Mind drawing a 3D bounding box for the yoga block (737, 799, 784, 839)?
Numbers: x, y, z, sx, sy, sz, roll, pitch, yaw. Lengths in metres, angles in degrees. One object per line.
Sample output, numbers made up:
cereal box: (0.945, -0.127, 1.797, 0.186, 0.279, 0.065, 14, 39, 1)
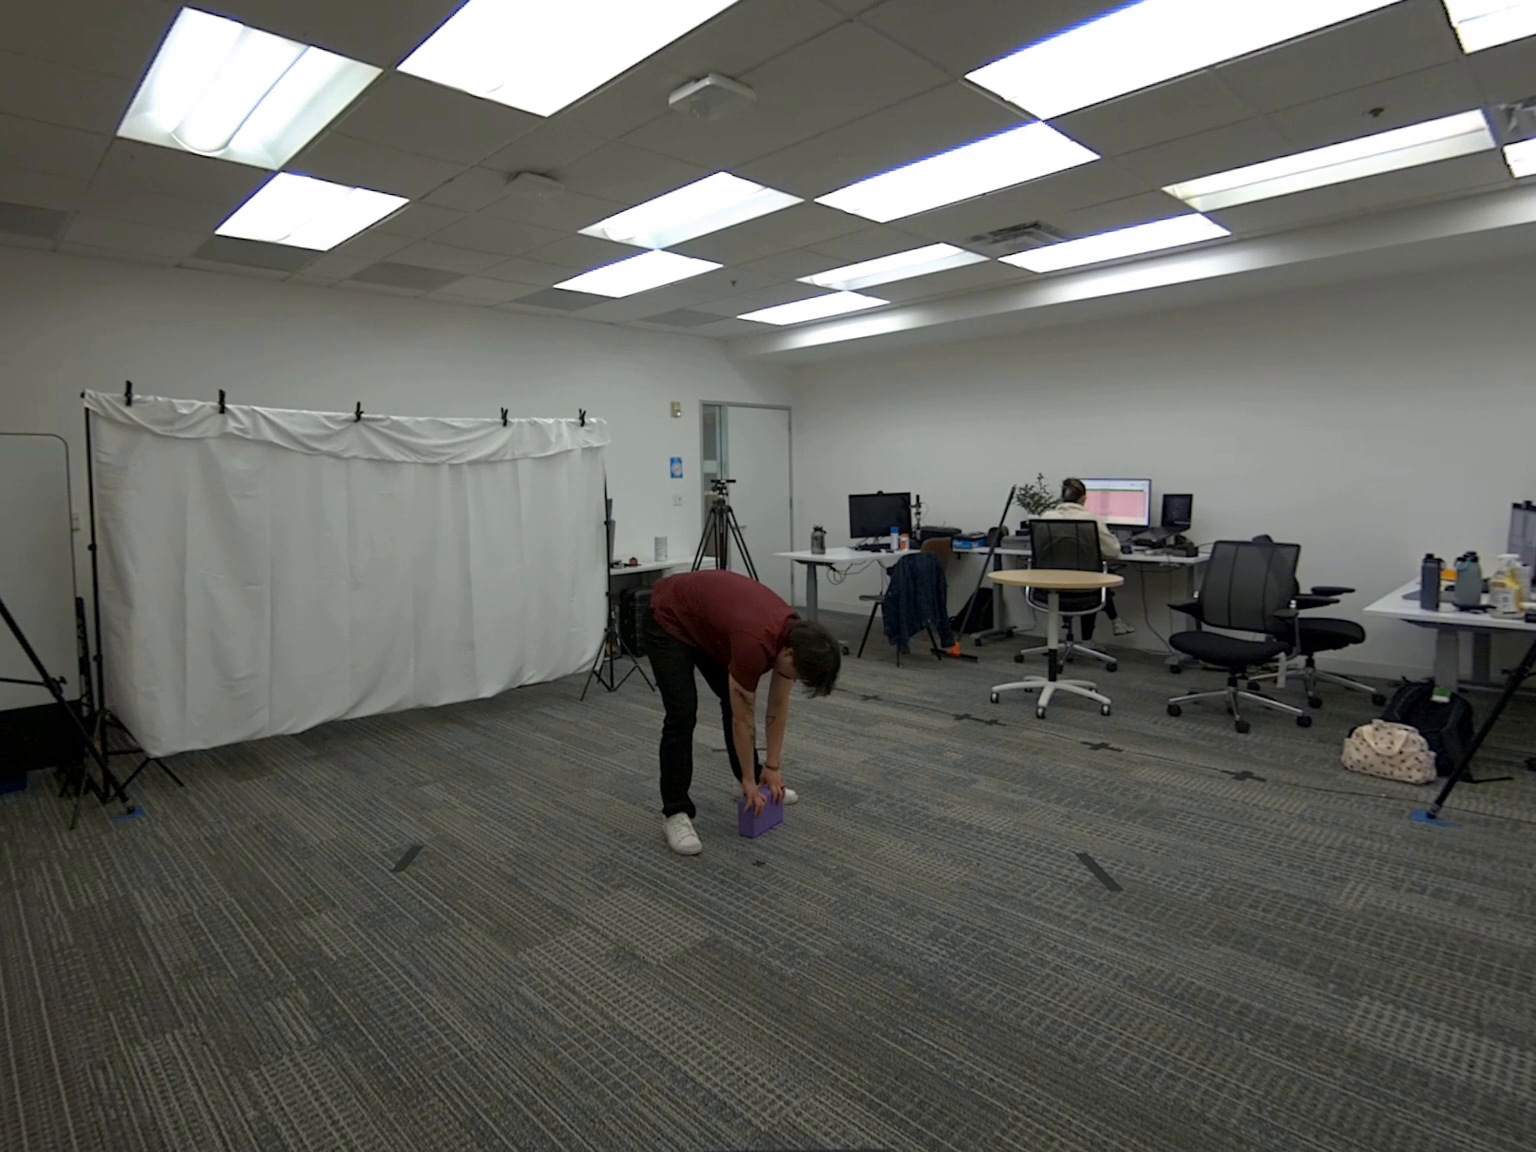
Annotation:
yoga block: (-0.034, 0.941, 3.433, 0.078, 0.149, 0.224, -3, 3, 34)
